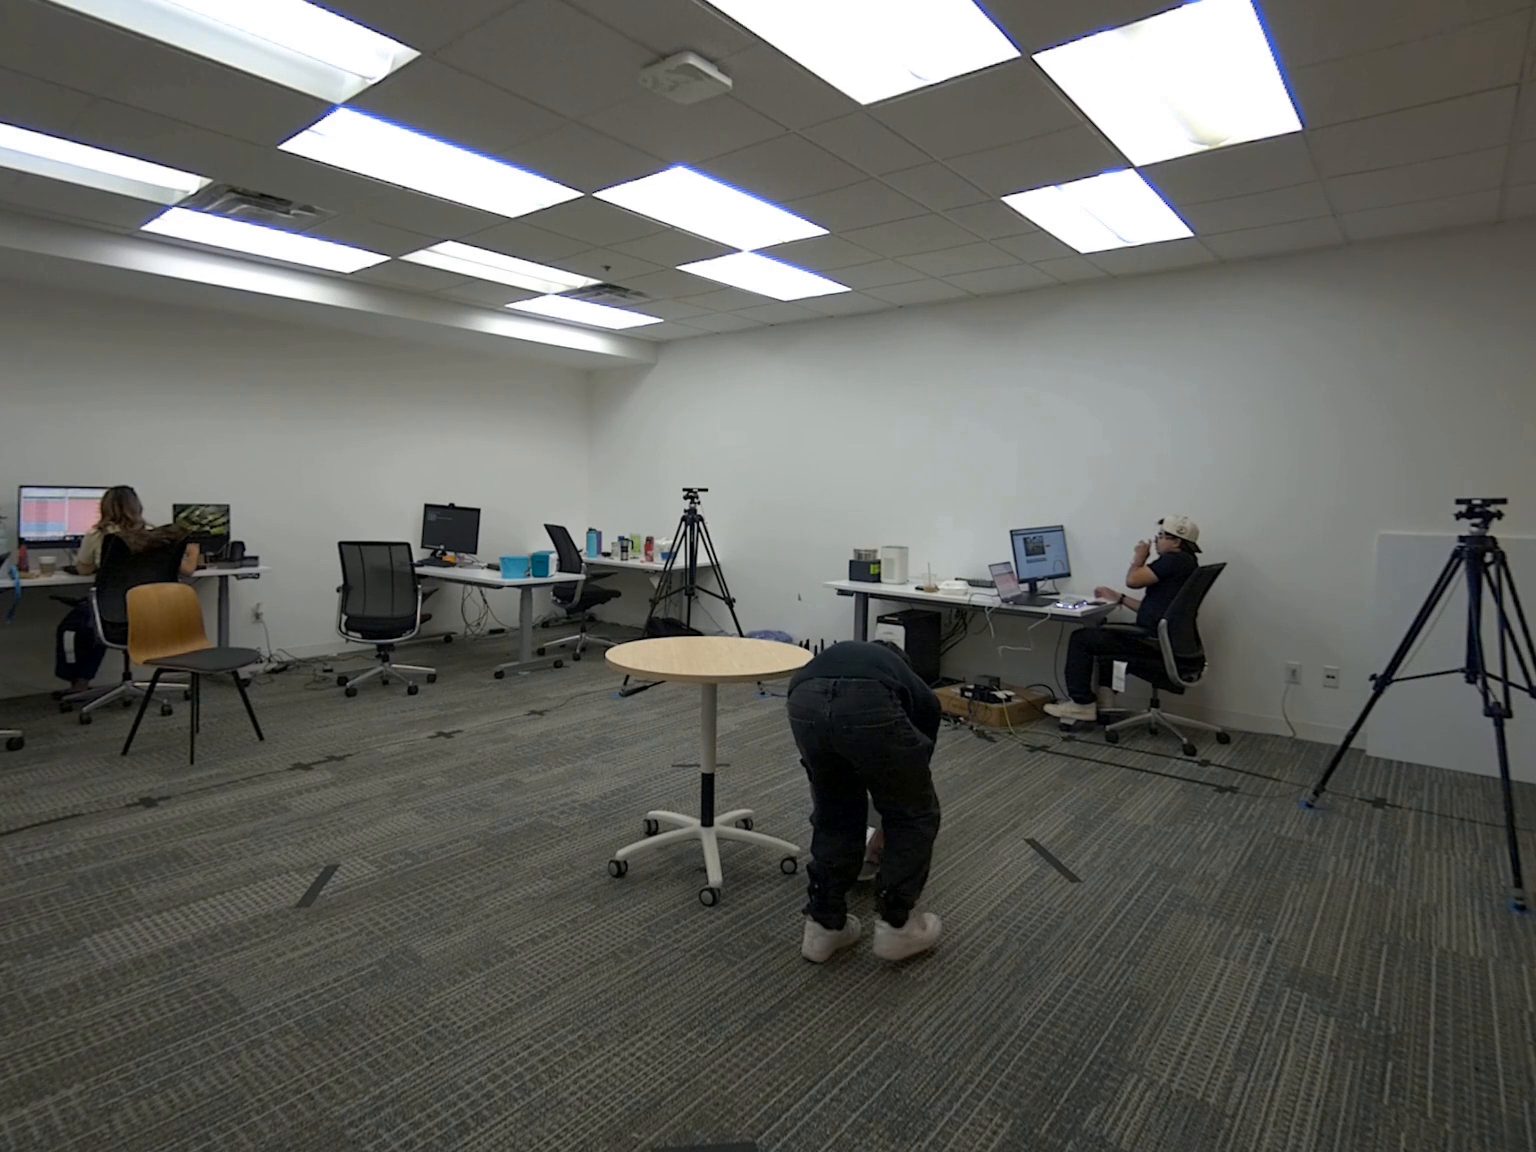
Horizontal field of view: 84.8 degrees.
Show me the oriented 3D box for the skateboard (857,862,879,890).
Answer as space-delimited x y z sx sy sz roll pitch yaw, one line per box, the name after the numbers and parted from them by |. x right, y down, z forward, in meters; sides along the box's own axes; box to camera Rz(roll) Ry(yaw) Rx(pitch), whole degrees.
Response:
0.365 1.012 3.209 0.197 0.110 0.773 3 6 17 | skateboard
